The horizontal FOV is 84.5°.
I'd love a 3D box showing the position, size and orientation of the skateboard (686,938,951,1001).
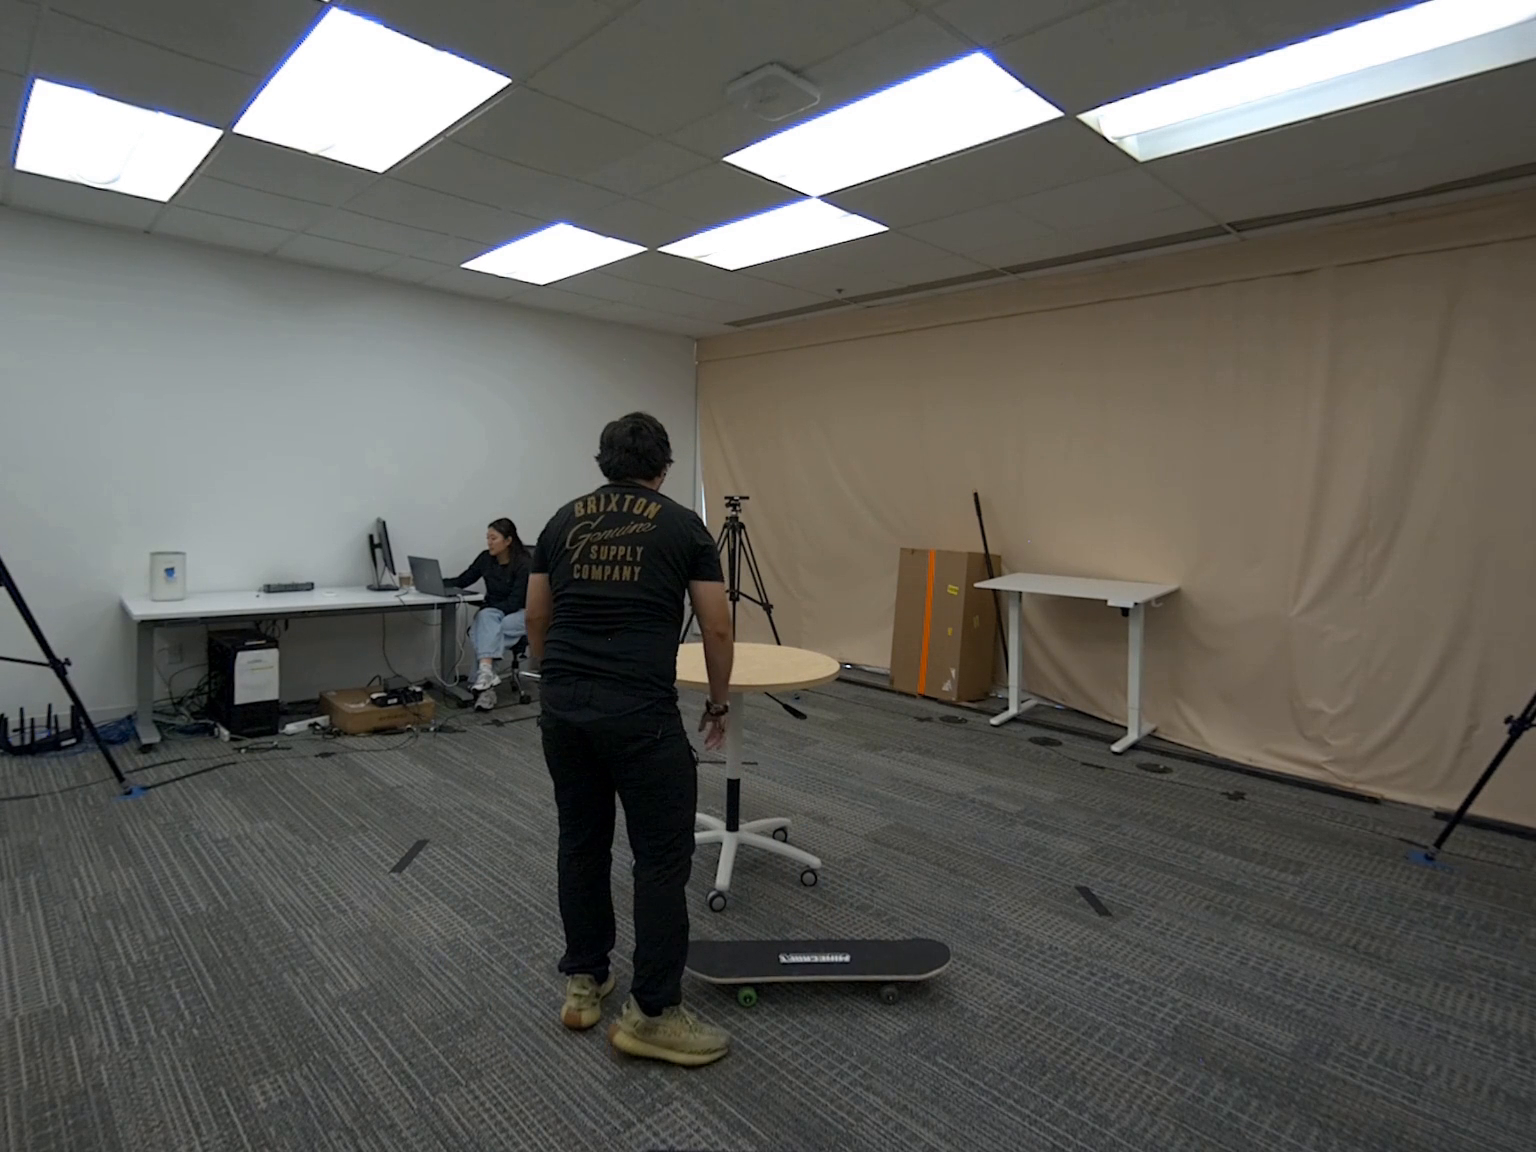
[{"bbox_3d":[0.126,1.122,2.397,0.783,0.110,0.195,1,5,-4],"label":"skateboard"}]
